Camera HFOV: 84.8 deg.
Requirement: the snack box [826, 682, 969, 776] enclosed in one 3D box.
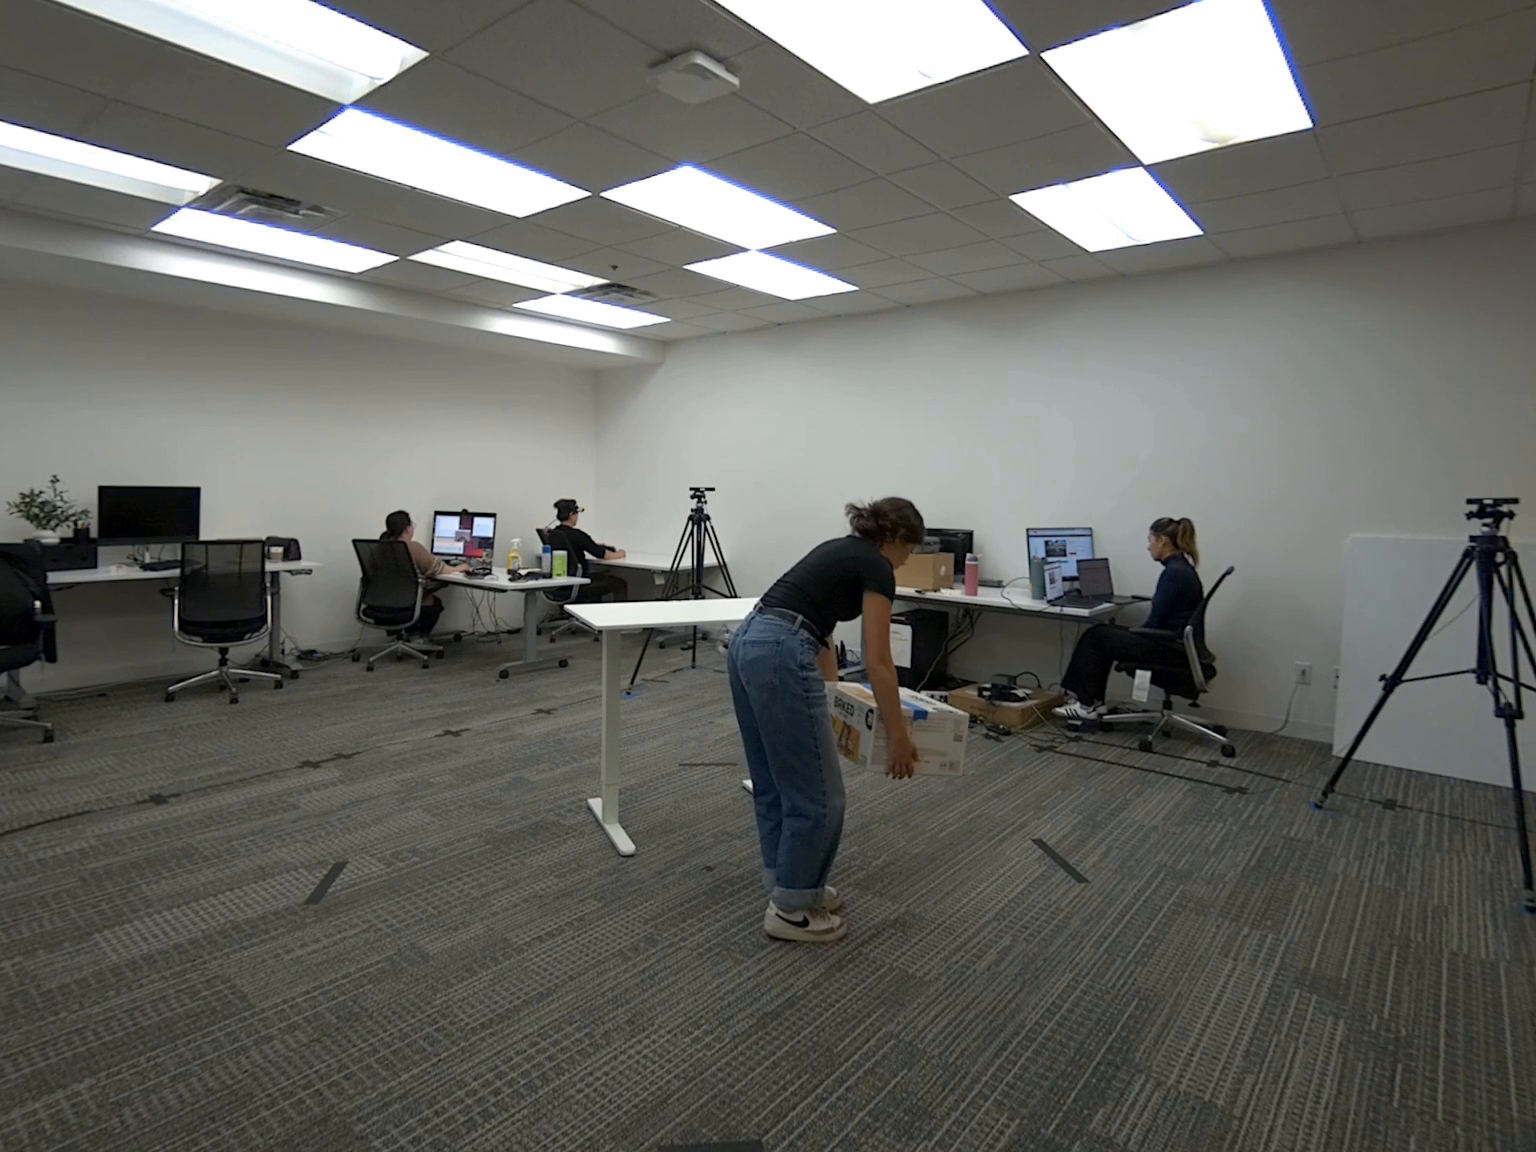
[{"bbox_3d":[0.397,0.505,2.840,0.333,0.205,0.414,6,2,-20],"label":"snack box"}]
